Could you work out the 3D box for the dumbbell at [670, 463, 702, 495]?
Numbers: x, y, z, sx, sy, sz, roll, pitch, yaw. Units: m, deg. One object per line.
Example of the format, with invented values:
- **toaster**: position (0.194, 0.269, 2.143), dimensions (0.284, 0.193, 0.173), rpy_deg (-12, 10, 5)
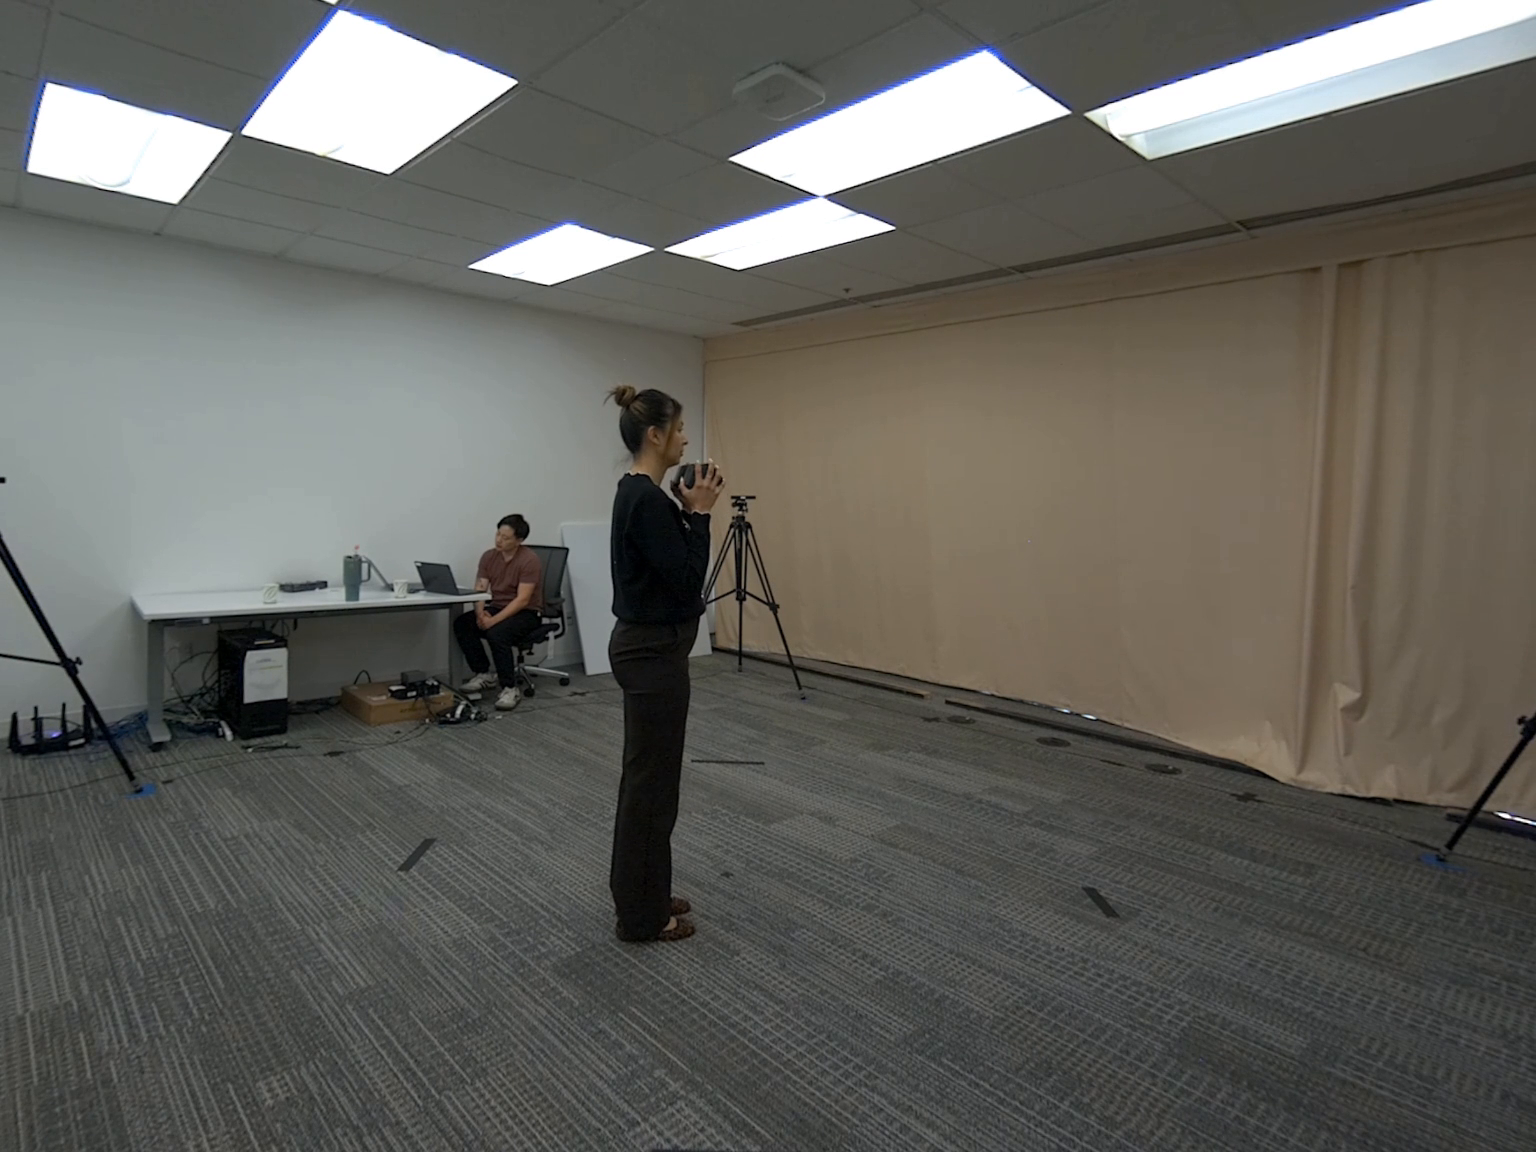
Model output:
- **dumbbell**: position (-0.250, -0.294, 2.668), dimensions (0.107, 0.123, 0.297), rpy_deg (35, -2, -13)
